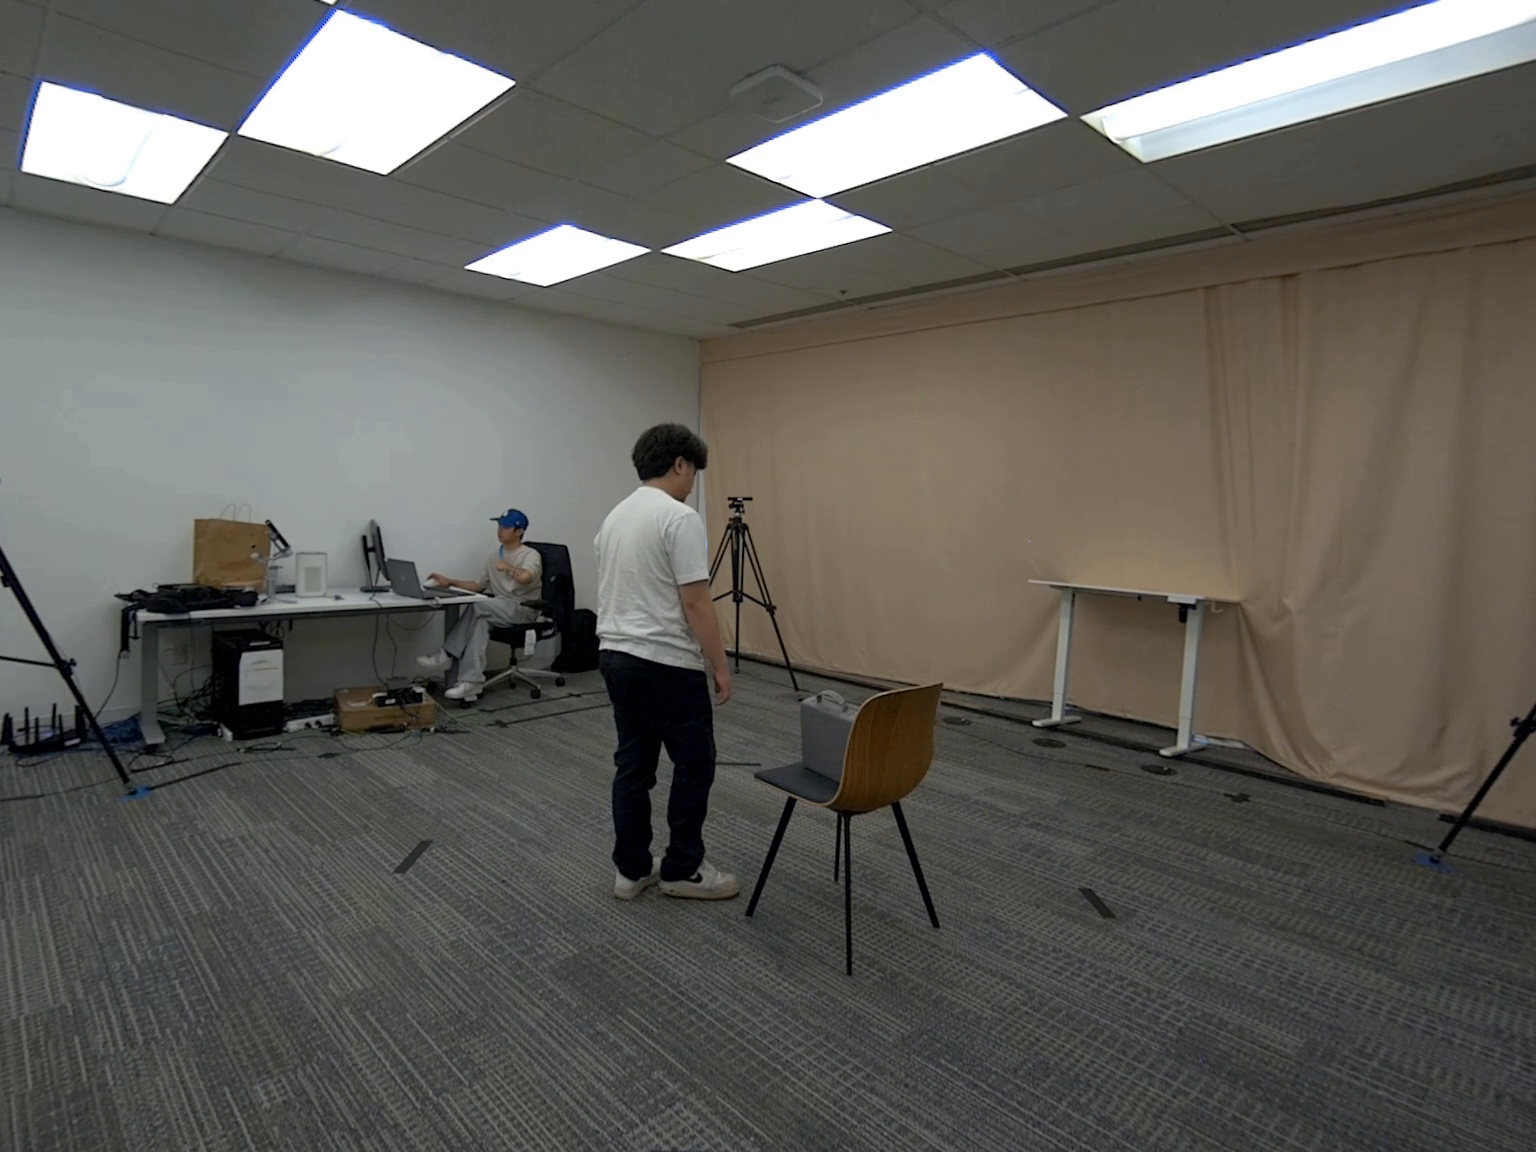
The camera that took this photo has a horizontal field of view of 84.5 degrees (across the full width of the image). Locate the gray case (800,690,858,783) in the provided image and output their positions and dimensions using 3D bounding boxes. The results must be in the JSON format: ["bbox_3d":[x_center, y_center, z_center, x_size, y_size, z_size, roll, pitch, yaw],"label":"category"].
[{"bbox_3d":[0.222,0.540,2.782,0.102,0.258,0.264,-12,15,-39],"label":"gray case"}]
